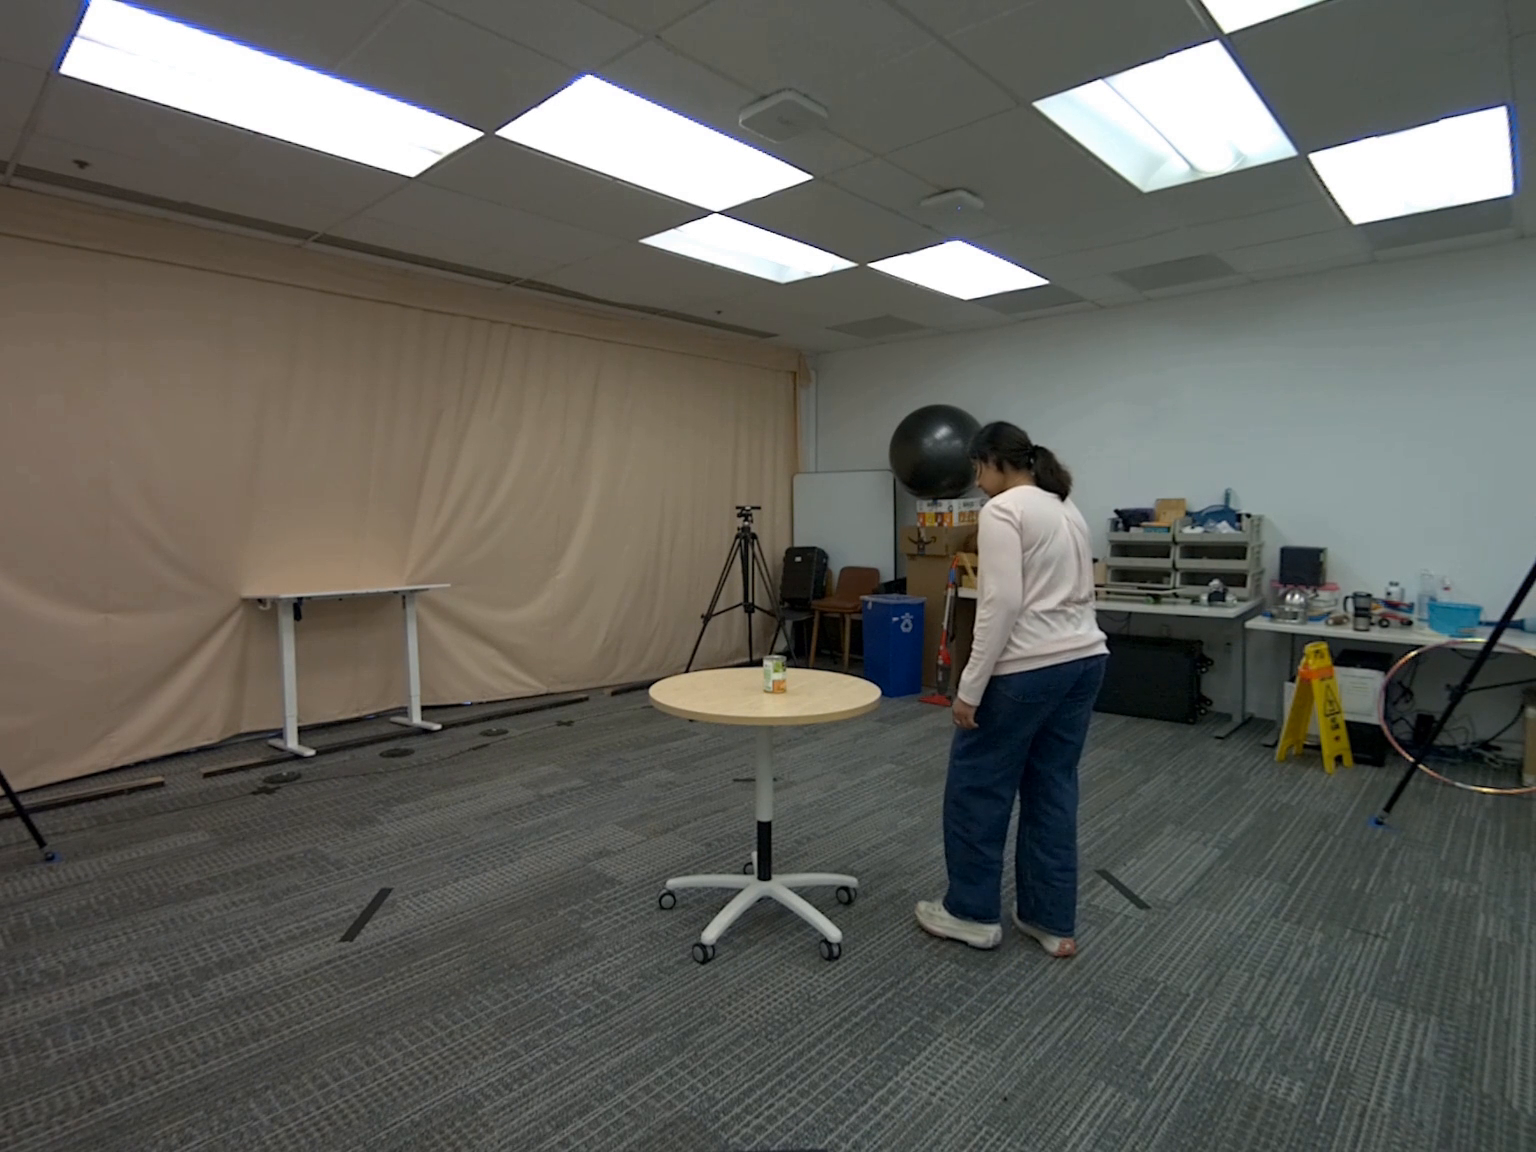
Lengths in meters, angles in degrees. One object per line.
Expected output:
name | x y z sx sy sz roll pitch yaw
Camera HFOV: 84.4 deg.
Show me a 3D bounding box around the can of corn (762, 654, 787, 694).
can of corn | 0.029 0.325 2.752 0.074 0.111 0.074 0 3 -2
